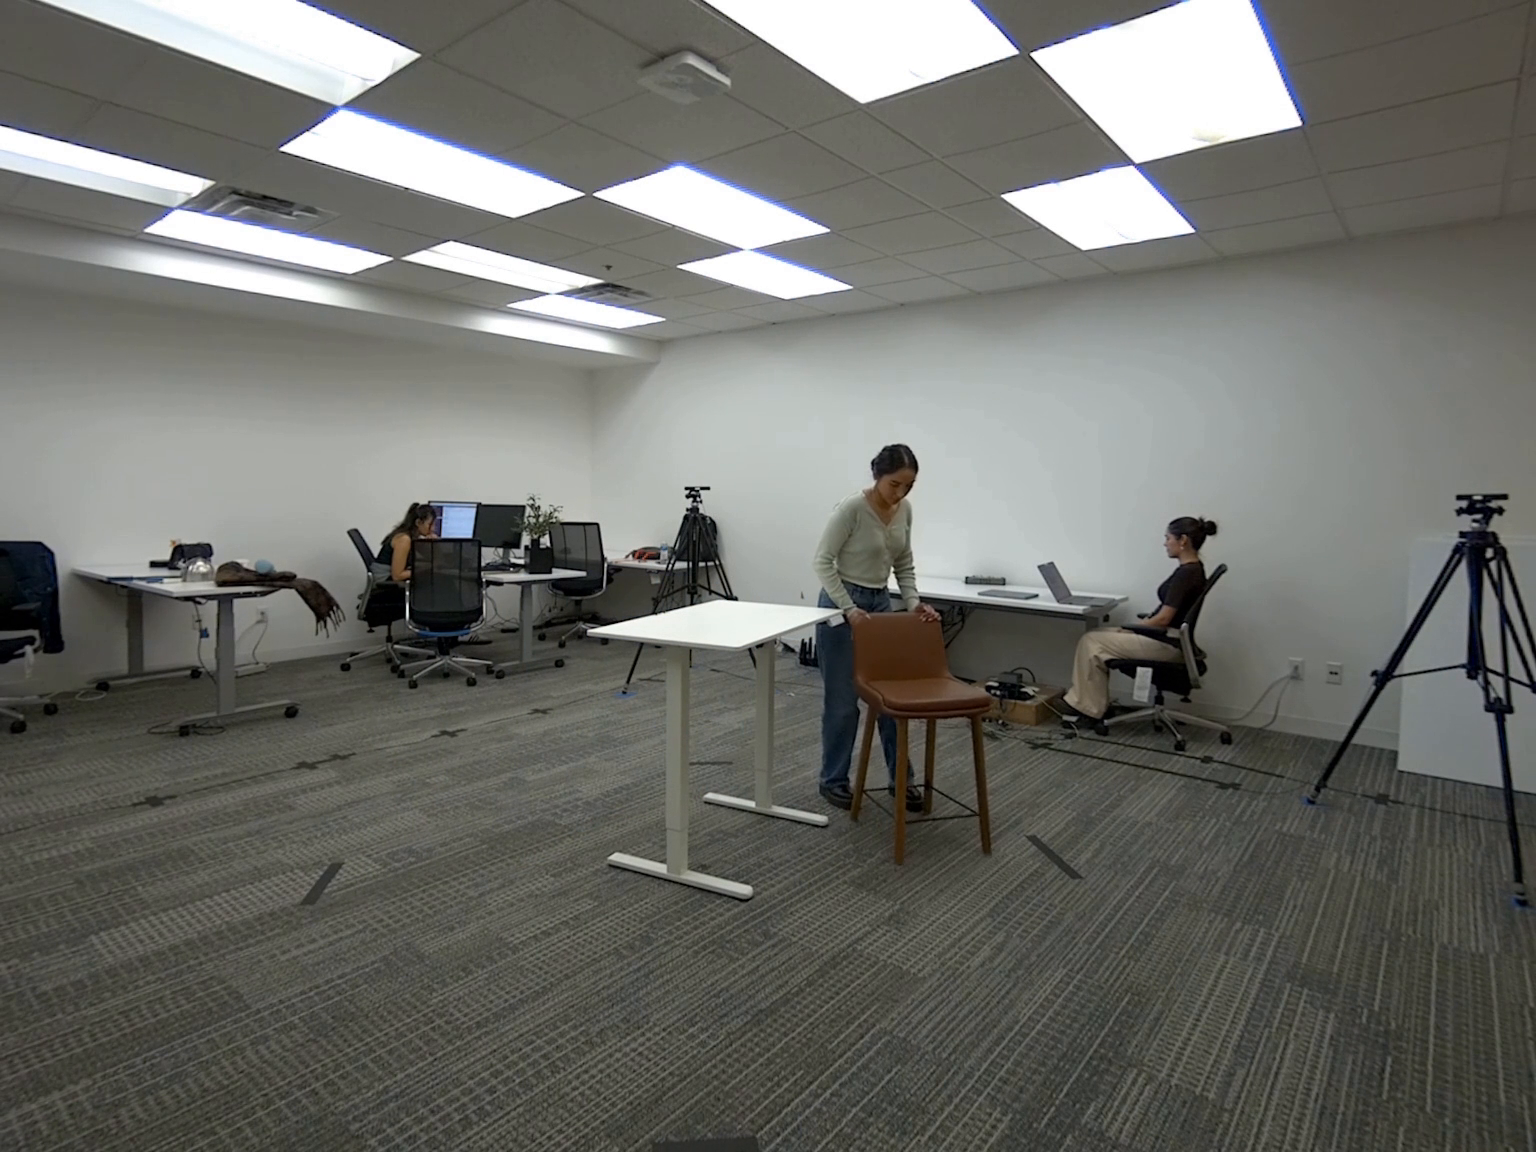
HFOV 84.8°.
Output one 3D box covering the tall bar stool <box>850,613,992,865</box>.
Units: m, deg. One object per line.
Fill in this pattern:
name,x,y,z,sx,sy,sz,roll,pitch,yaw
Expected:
tall bar stool,0.606,0.614,3.425,0.448,0.889,0.477,1,2,-17
